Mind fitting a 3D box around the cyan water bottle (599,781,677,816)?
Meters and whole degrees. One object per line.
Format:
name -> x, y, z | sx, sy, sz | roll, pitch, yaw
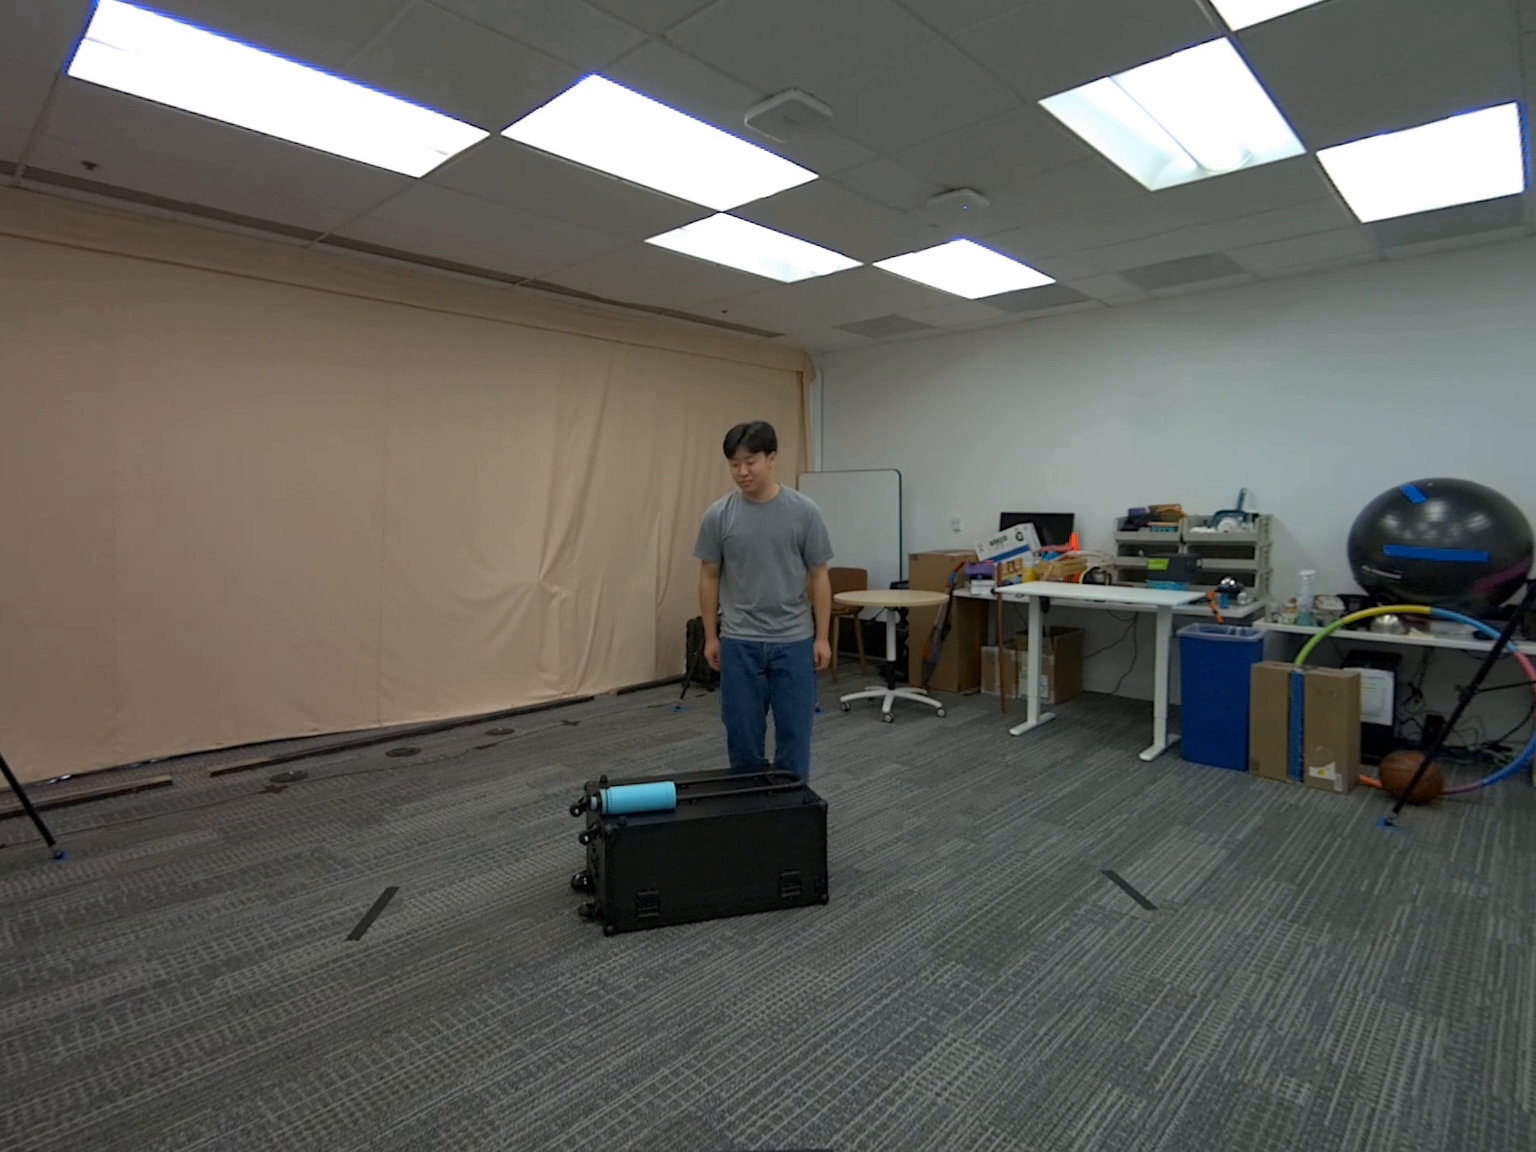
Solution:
cyan water bottle -> -0.455, 0.753, 2.853 | 0.279, 0.092, 0.094 | -2, 4, -13
